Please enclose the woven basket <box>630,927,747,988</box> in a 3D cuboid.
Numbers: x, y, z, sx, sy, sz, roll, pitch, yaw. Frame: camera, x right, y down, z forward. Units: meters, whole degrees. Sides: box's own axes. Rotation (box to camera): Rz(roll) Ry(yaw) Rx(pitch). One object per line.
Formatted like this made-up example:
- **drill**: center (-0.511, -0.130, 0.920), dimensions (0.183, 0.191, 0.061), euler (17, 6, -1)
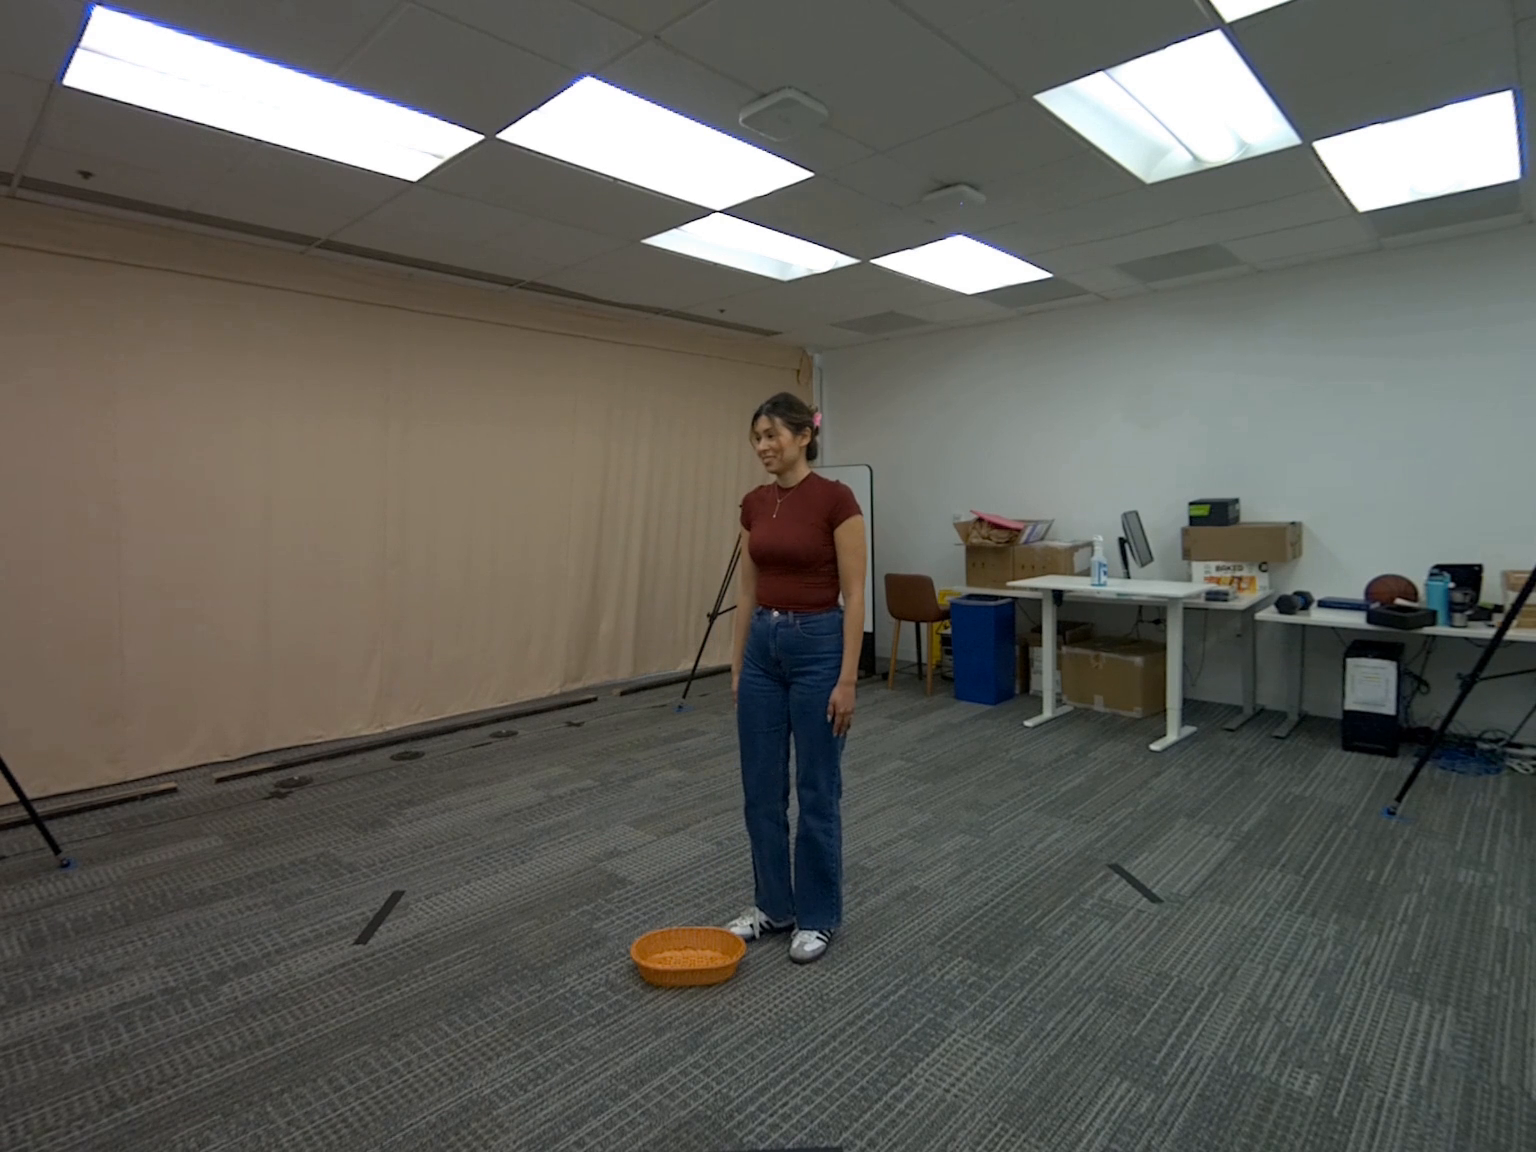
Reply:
- **woven basket**: center (-0.239, 1.145, 2.526), dimensions (0.350, 0.073, 0.253), euler (-1, 3, 0)
